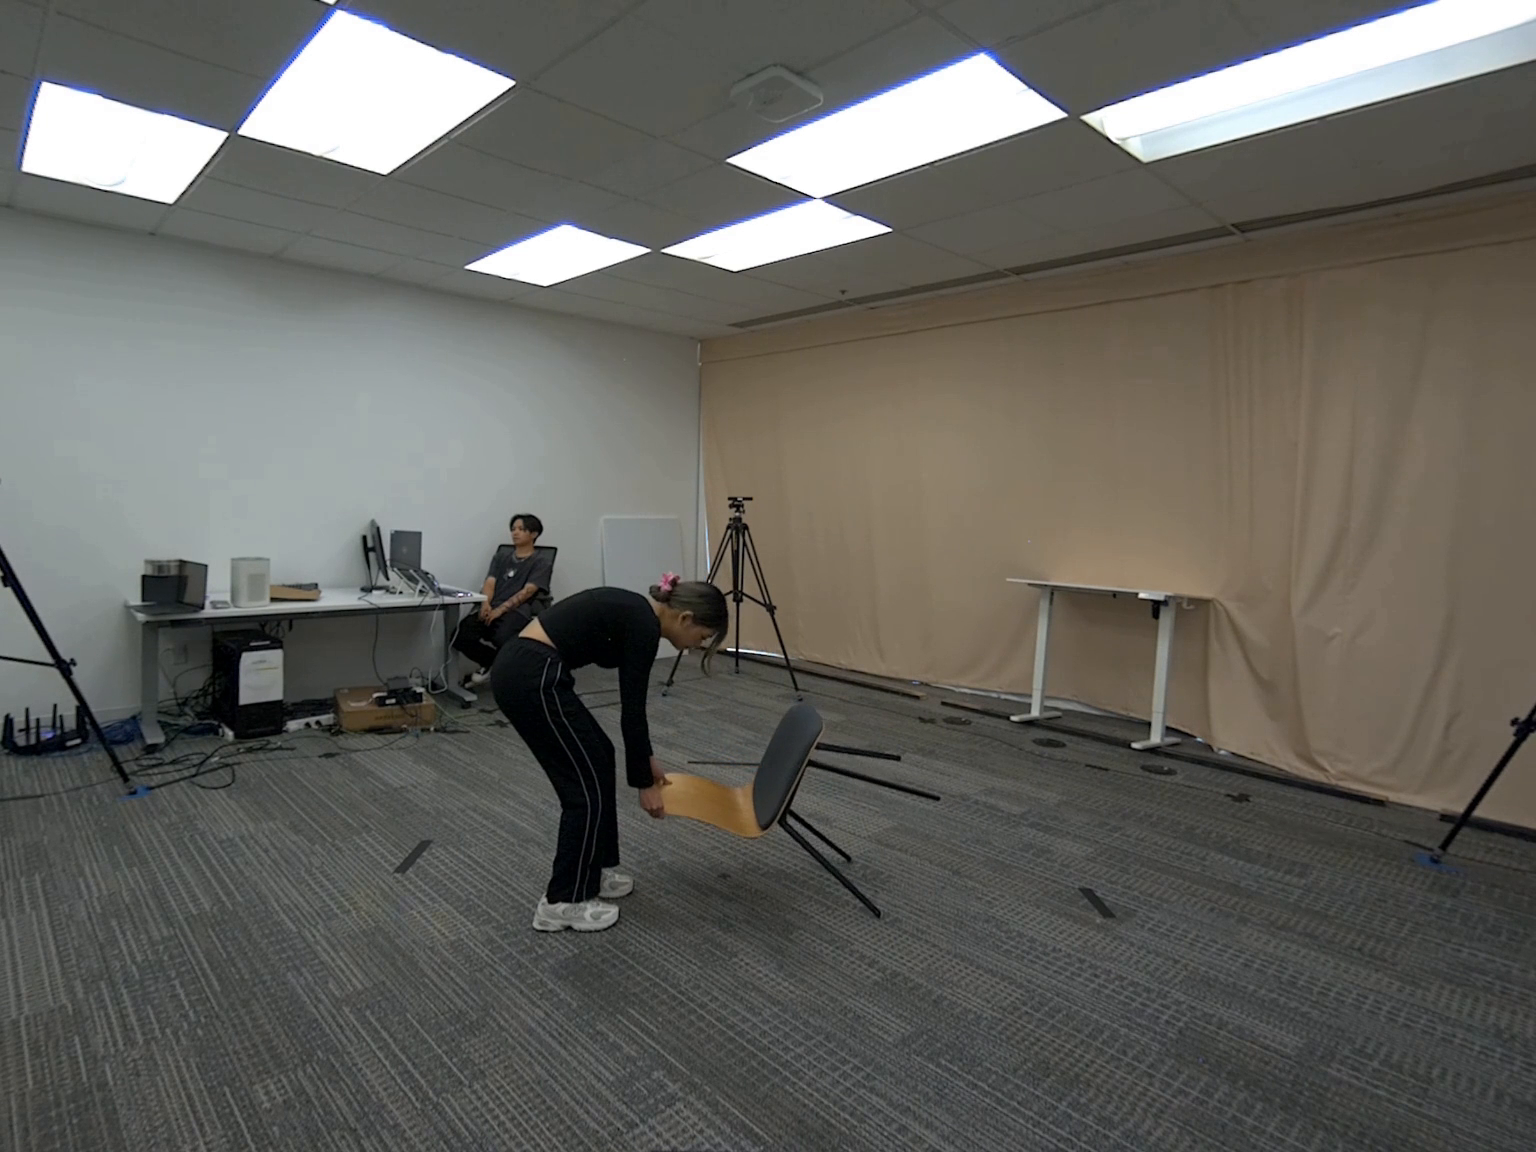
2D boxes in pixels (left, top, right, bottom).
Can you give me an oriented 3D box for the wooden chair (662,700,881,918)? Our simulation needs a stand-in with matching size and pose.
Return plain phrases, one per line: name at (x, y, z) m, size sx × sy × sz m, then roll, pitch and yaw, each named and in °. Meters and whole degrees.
wooden chair at (0.062, 0.723, 2.991) m, size 0.872 × 0.523 × 0.481 m, roll 22°, pitch 2°, yaw -6°
